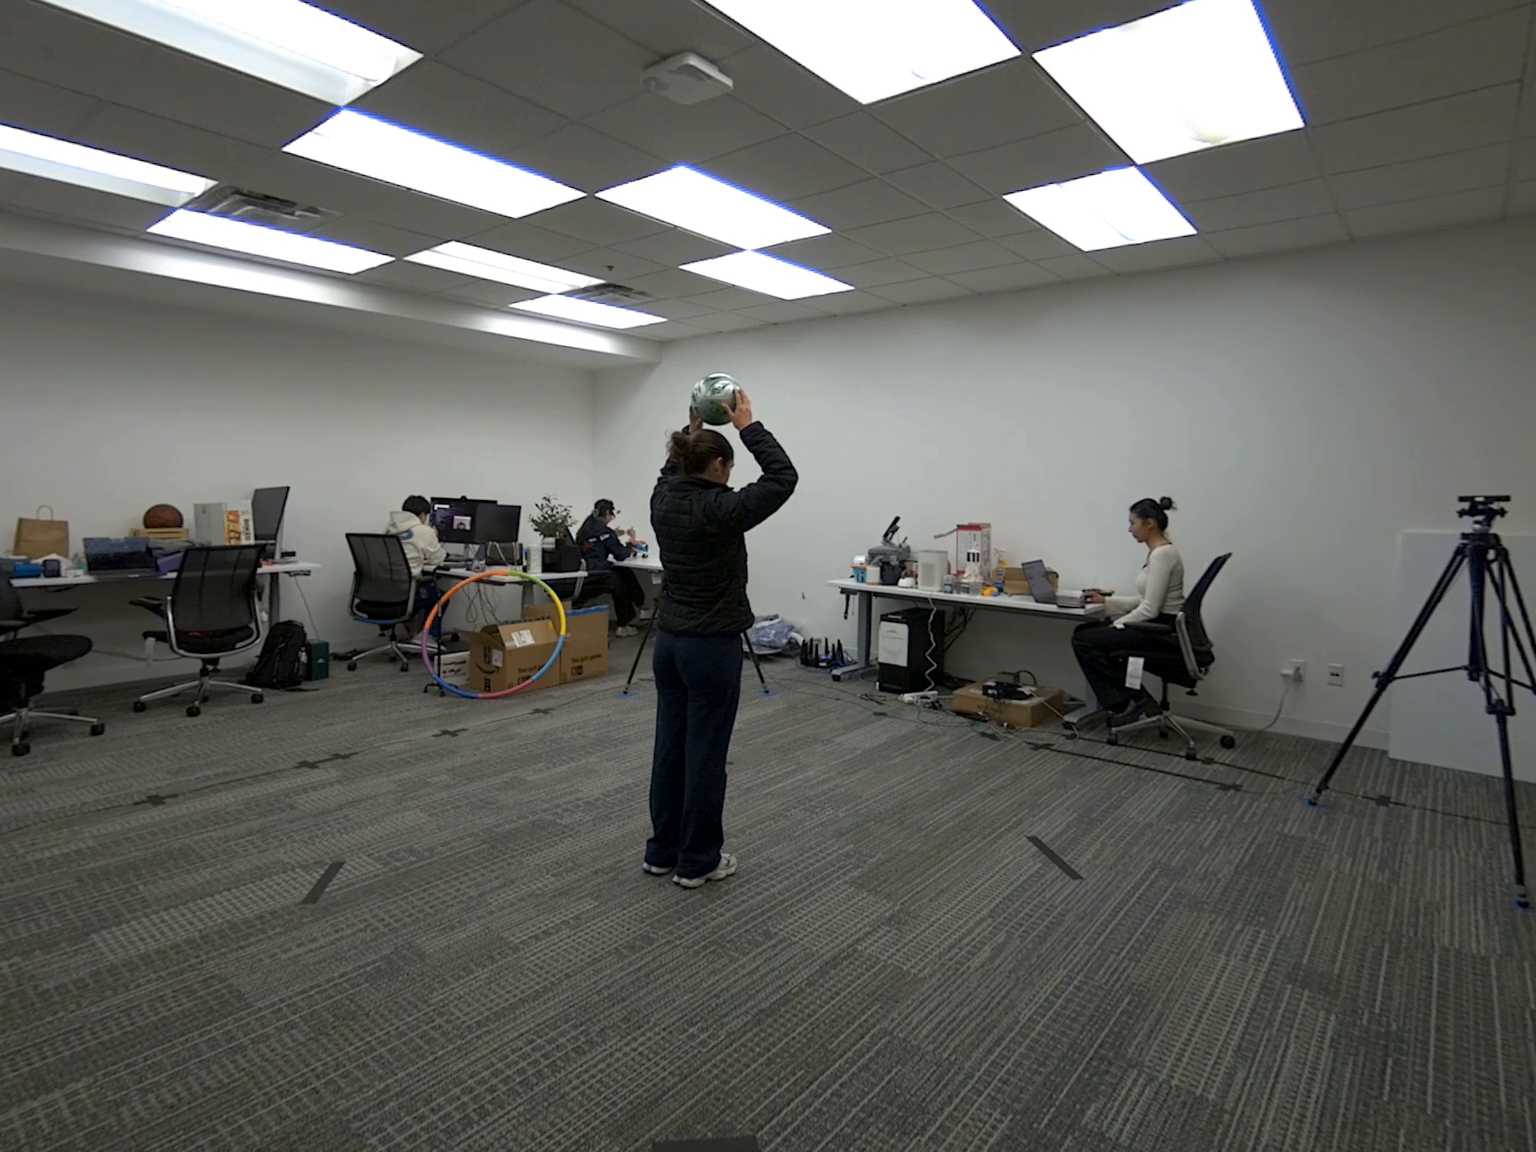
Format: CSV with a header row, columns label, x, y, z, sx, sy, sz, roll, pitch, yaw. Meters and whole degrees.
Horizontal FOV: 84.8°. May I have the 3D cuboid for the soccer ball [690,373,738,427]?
label,x,y,z,sx,sy,sz,roll,pitch,yaw
soccer ball,-0.187,-0.635,3.067,0.187,0.187,0.188,1,4,-2
